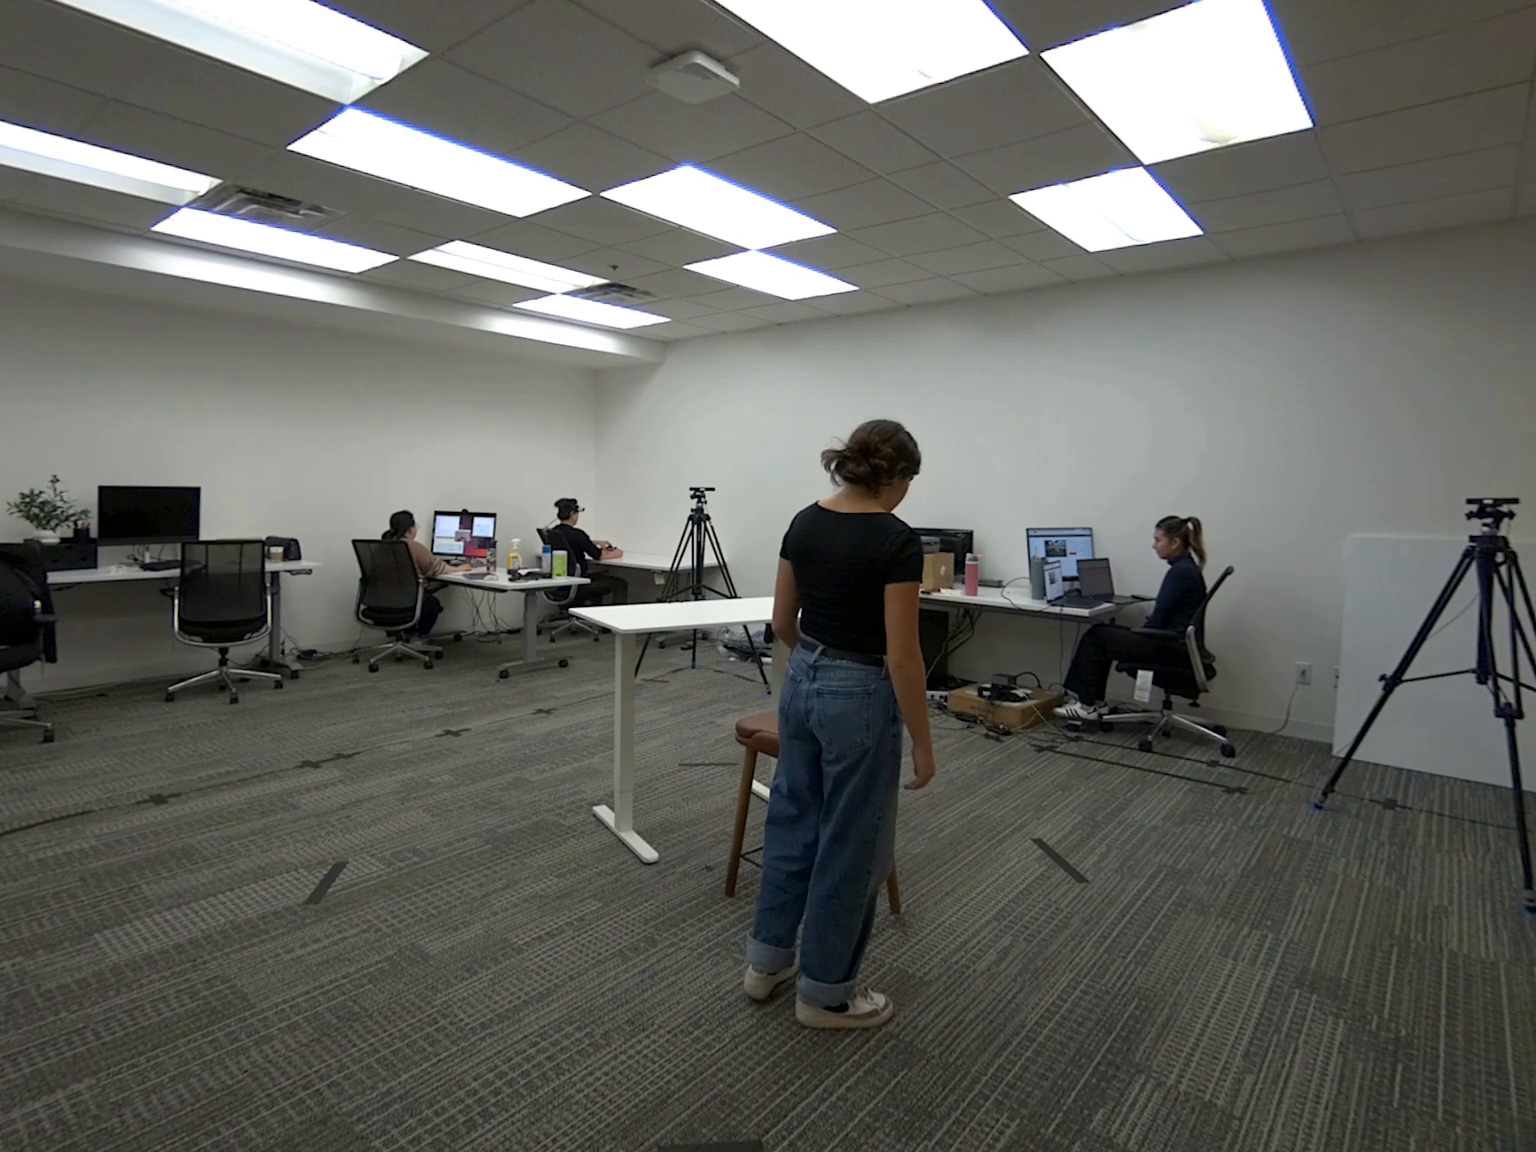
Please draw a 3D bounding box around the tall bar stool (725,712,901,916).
[{"bbox_3d":[0.165,0.662,2.834,0.442,0.886,0.484,-1,7,-42],"label":"tall bar stool"}]
